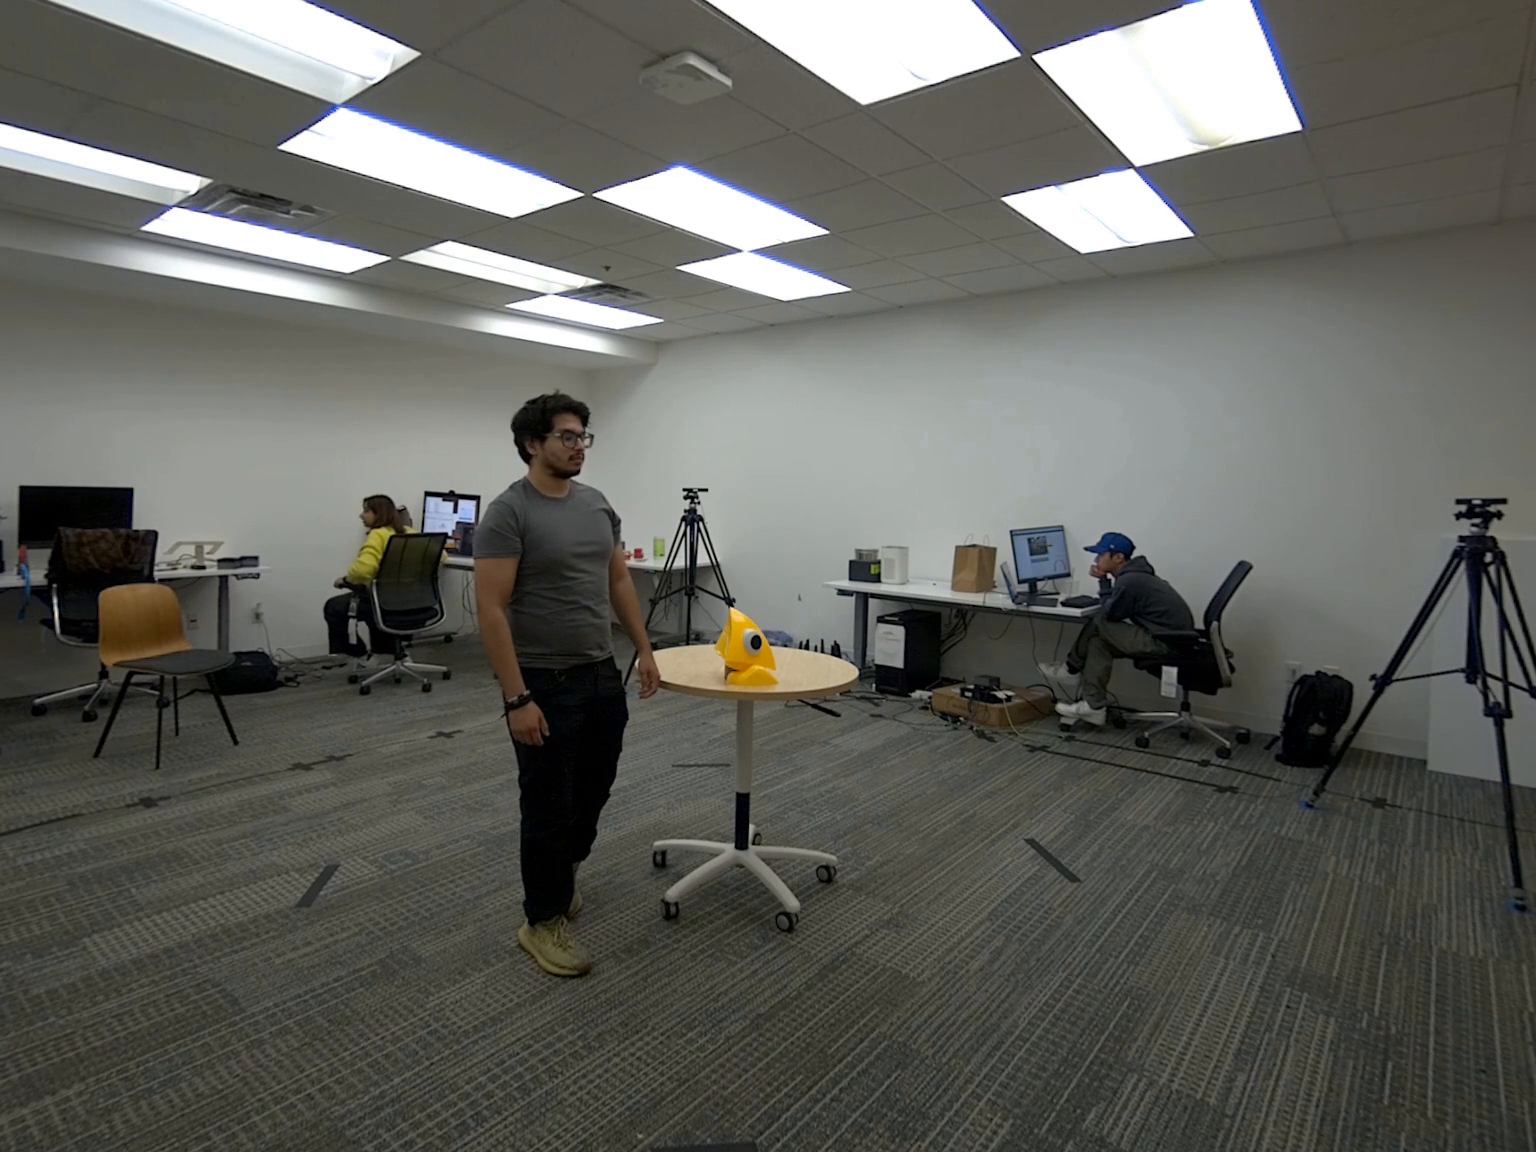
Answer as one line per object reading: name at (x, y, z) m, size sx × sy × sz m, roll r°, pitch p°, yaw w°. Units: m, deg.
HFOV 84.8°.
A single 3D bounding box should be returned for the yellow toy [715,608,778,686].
yellow toy at (-0.073, 0.214, 2.732) m, size 0.191 × 0.230 × 0.208 m, roll 0°, pitch 5°, yaw -12°
